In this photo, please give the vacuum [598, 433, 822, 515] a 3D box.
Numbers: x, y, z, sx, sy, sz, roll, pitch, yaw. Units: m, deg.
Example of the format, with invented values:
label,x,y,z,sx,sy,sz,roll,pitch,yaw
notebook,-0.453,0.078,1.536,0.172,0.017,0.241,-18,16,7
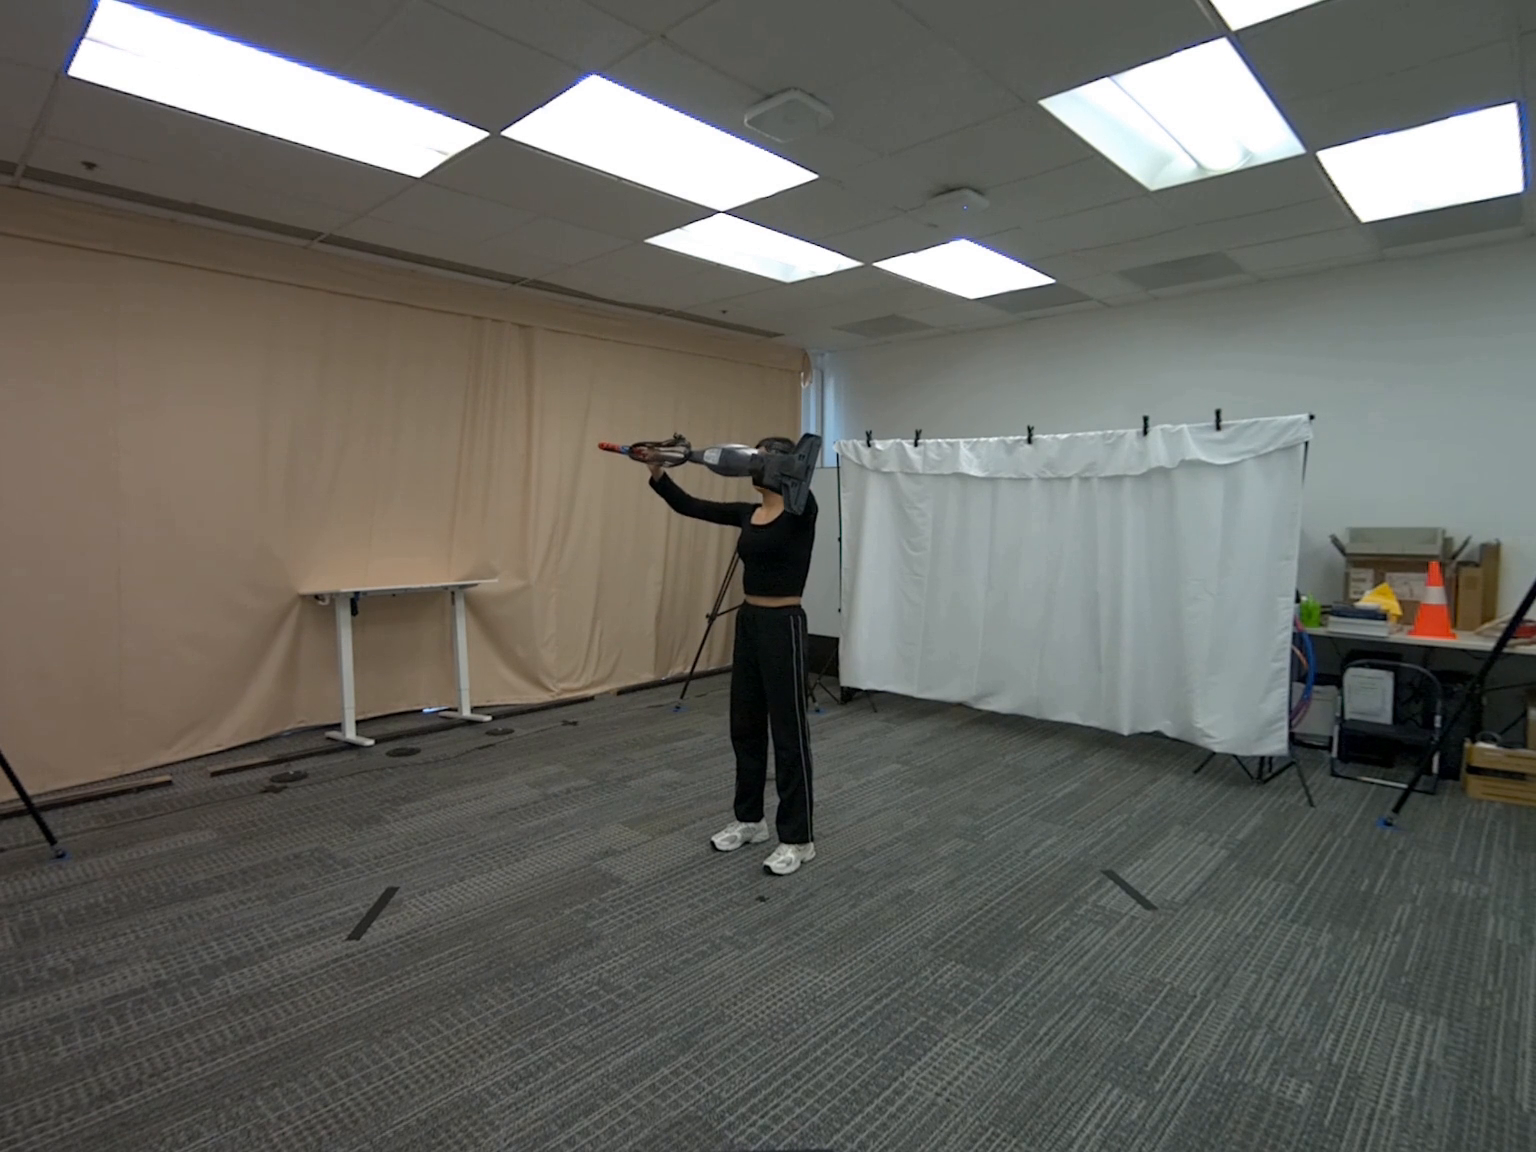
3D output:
label,x,y,z,sx,sy,sz,roll,pitch,yaw
vacuum,-0.288,-0.419,2.984,1.087,0.252,0.139,15,-1,45
